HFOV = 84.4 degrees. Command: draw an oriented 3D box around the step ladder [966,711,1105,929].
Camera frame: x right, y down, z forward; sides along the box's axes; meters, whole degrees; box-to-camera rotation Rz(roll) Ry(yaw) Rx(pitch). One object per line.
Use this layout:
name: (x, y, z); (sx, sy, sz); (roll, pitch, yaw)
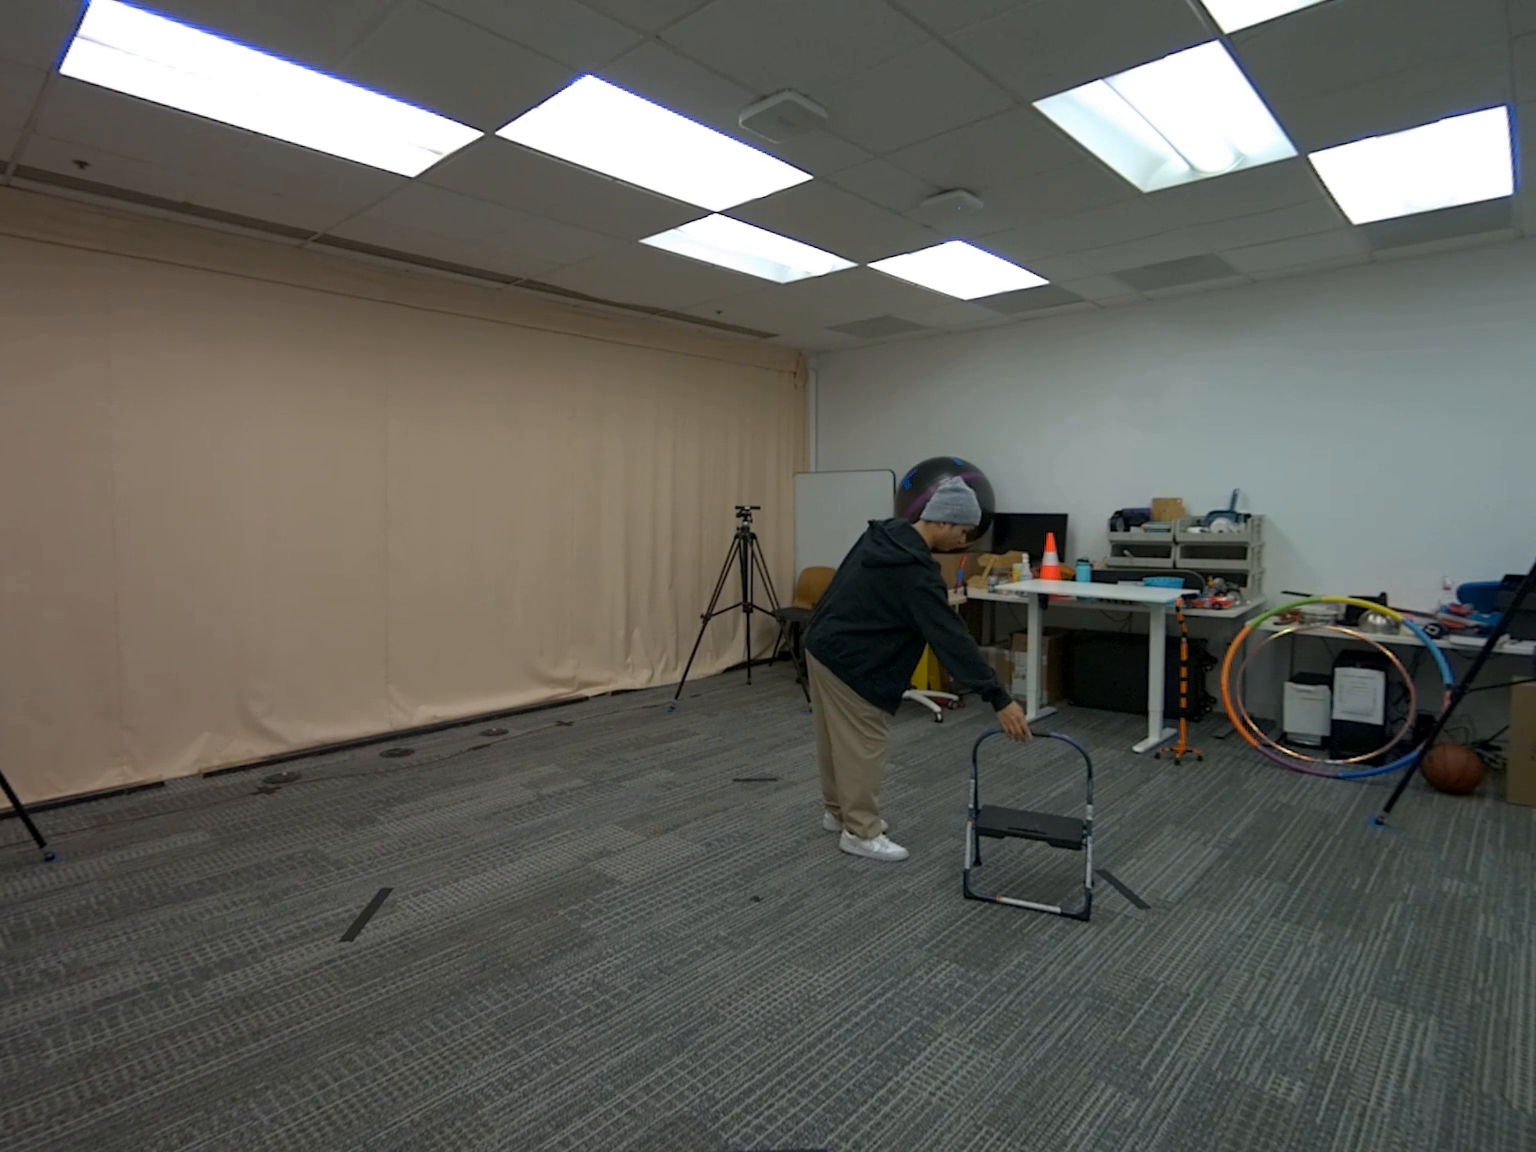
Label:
step ladder: (0.957, 0.839, 3.027); (0.441, 0.605, 0.342); (1, 3, 22)
